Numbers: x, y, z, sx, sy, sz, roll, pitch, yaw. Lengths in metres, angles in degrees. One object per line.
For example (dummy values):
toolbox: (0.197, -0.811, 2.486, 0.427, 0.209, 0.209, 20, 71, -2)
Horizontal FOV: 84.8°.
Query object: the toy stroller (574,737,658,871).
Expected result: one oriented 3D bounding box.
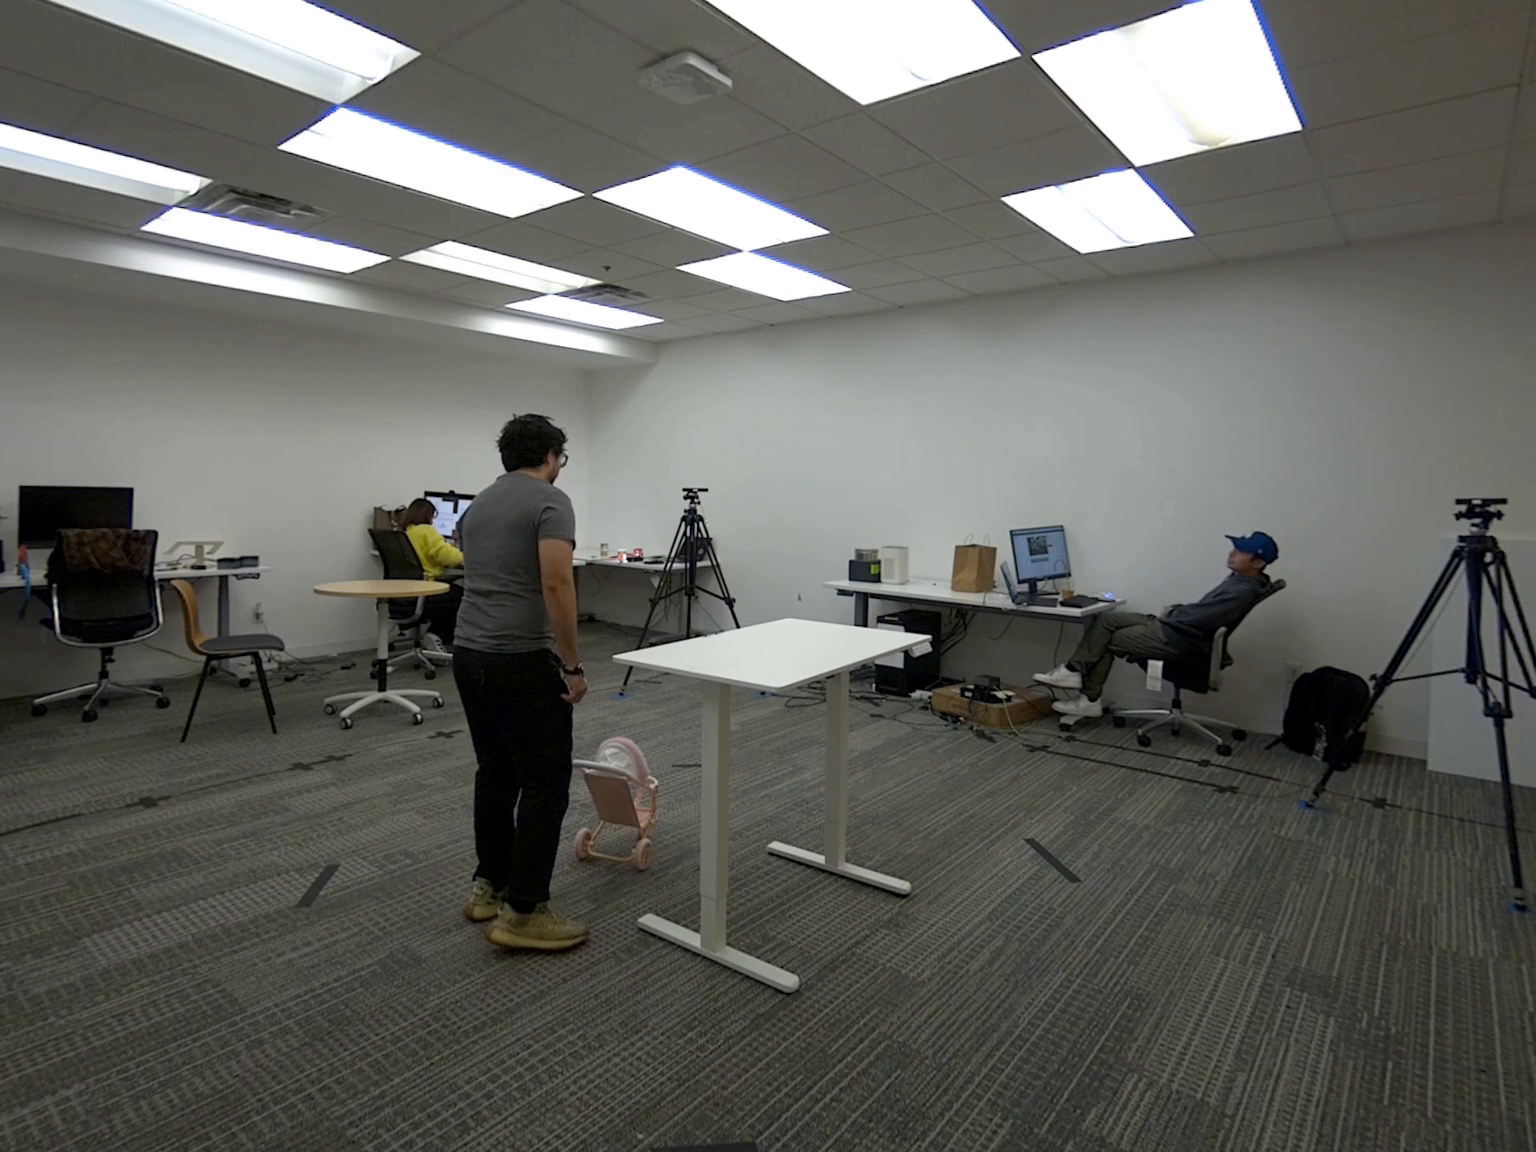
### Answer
toy stroller: (-0.558, 0.833, 3.193, 0.288, 0.525, 0.340, 4, 21, 22)
